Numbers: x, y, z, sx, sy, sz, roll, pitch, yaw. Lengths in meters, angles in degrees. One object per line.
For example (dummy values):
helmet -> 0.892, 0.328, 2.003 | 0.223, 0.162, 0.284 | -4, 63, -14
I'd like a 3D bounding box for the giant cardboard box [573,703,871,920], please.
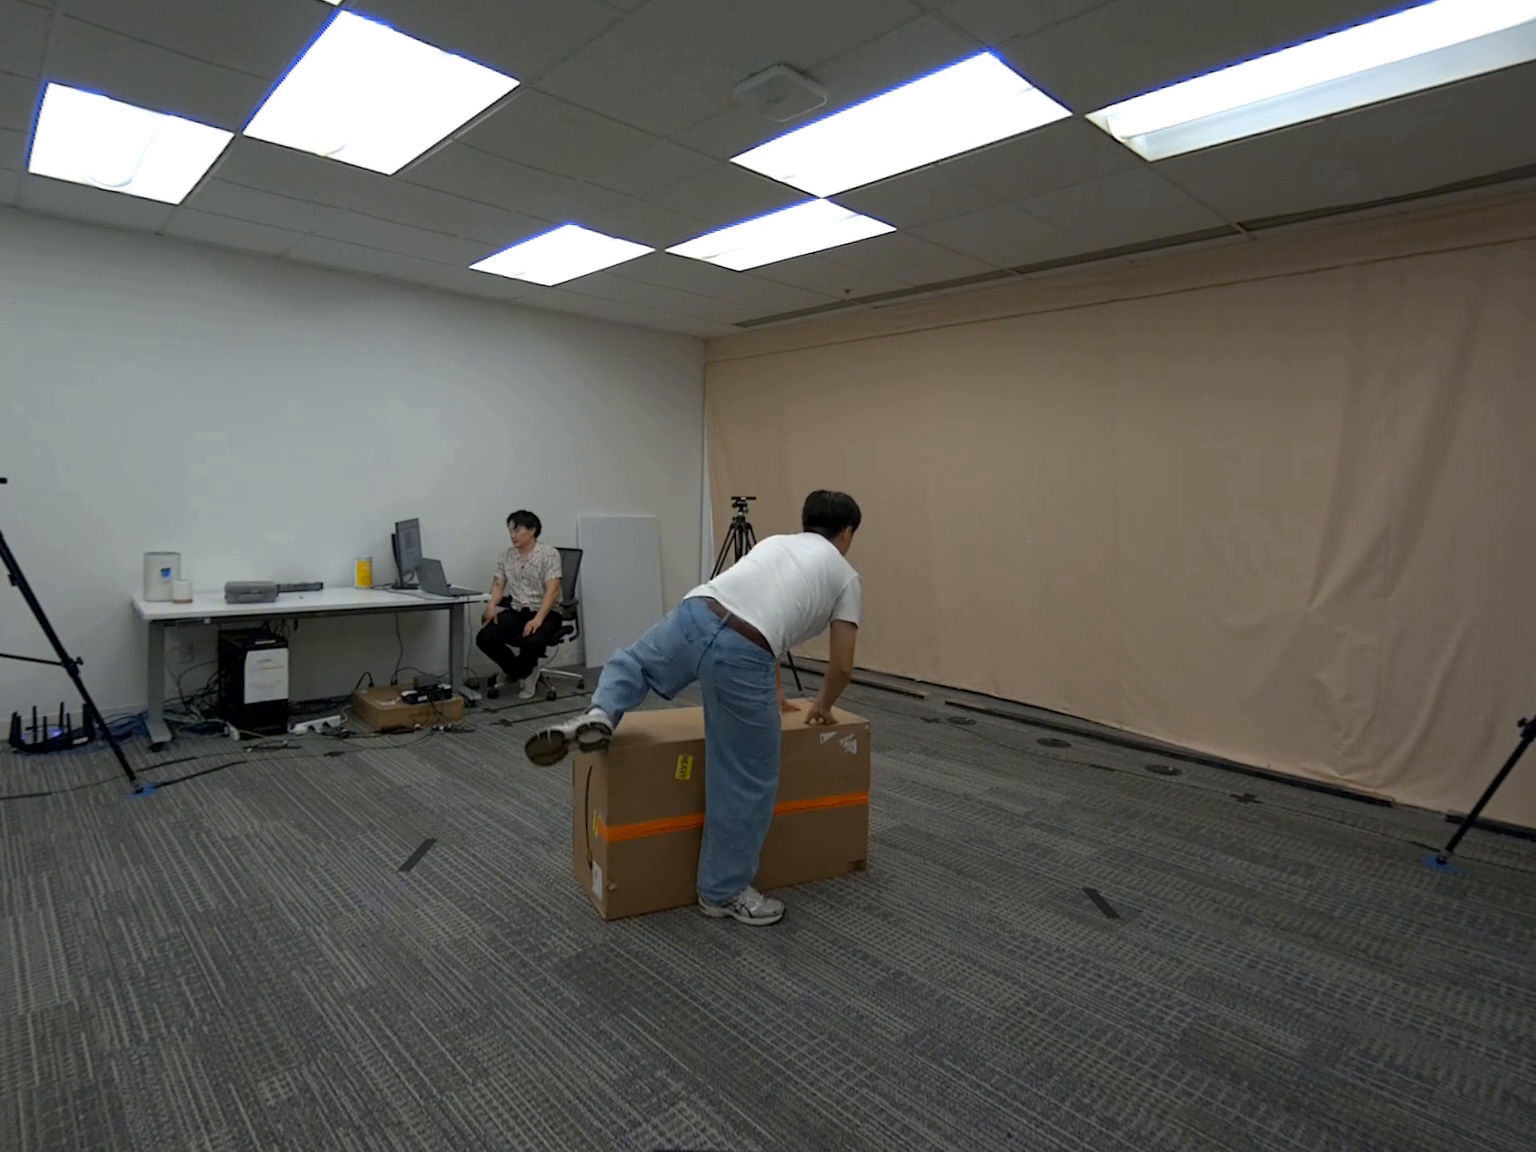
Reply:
giant cardboard box -> -0.173, 0.815, 3.131 | 1.007, 0.576, 0.435 | -1, 4, -25
